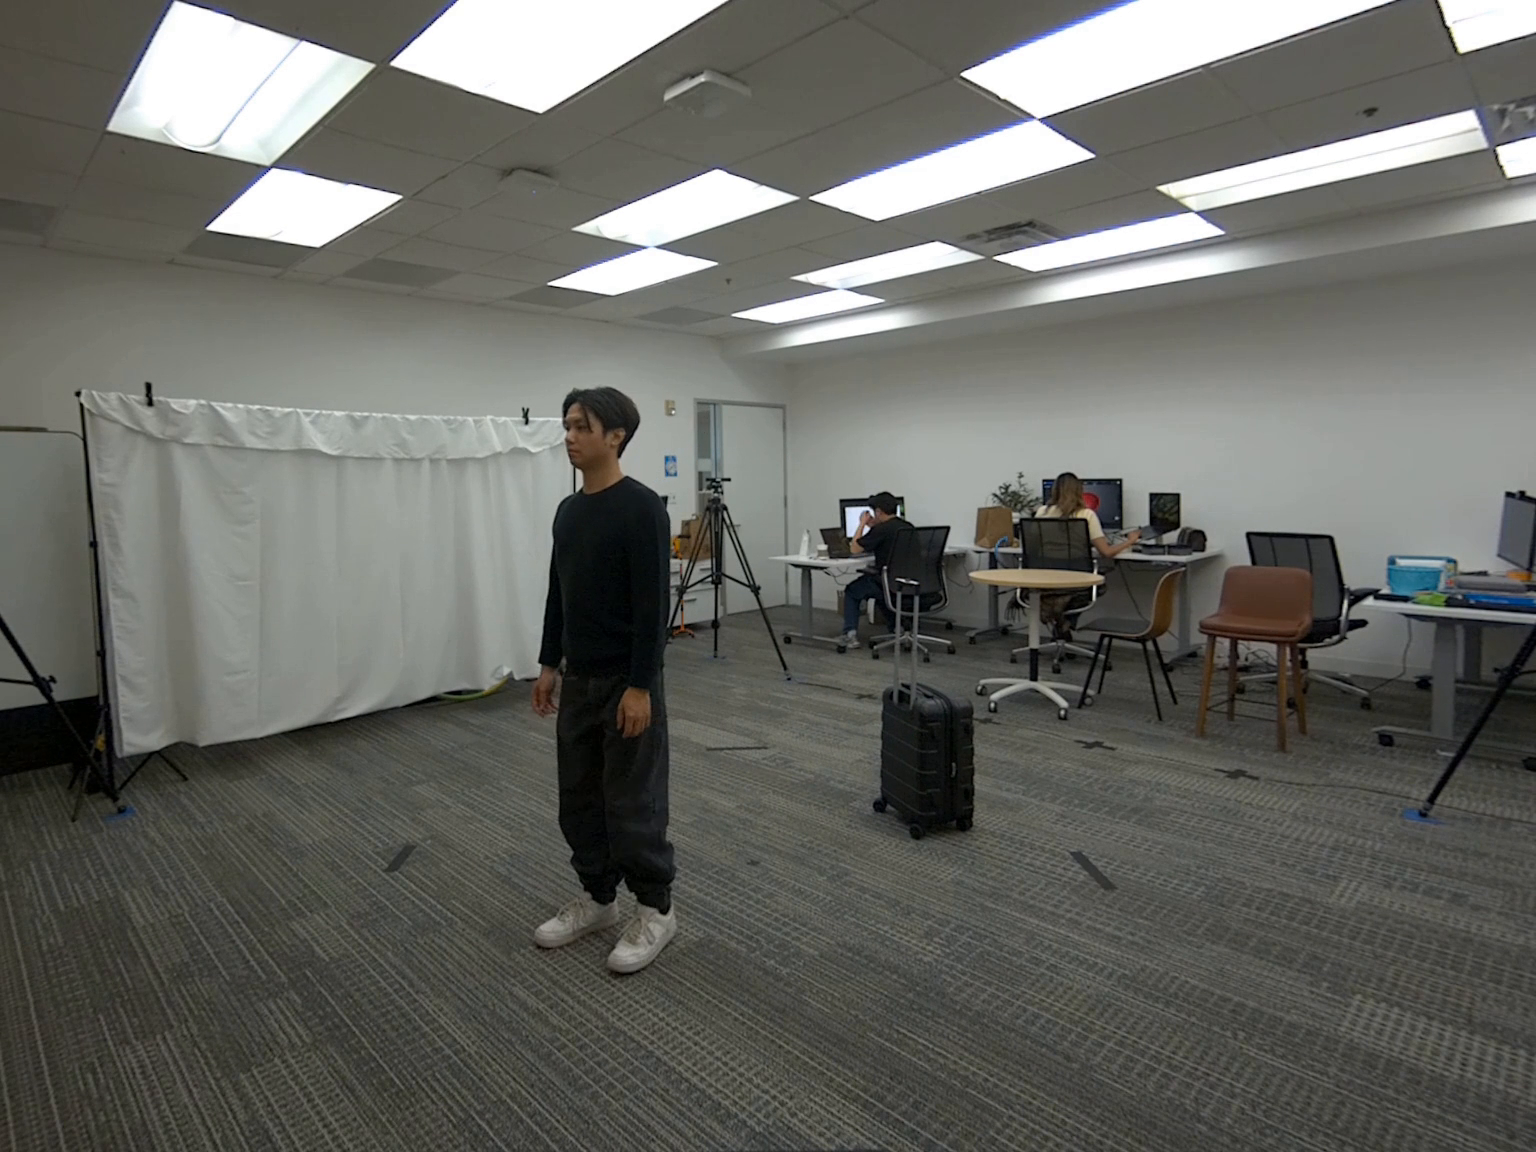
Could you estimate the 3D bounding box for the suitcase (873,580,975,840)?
[{"bbox_3d":[0.642,0.517,3.432,0.253,0.975,0.391,1,4,-17],"label":"suitcase"}]
